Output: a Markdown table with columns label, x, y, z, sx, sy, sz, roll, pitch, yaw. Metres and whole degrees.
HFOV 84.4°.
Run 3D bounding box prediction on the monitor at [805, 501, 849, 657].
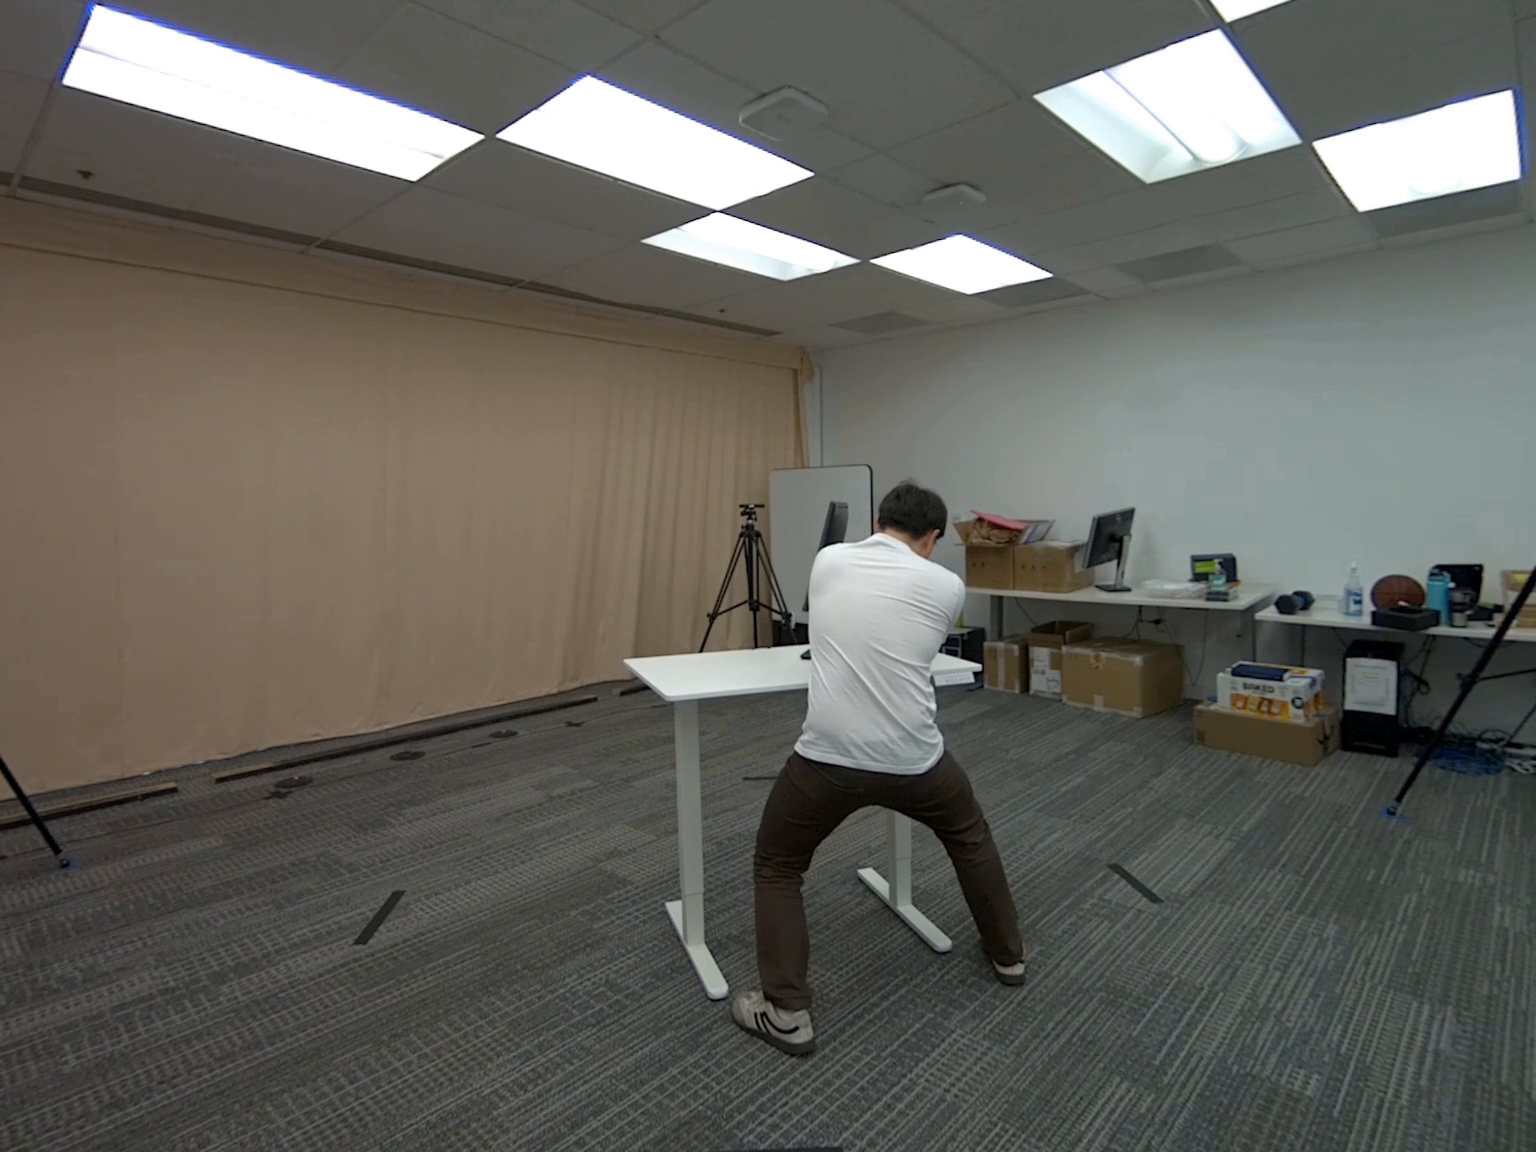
| label | x | y | z | sx | sy | sz | roll | pitch | yaw |
| --- | --- | --- | --- | --- | --- | --- | --- | --- | --- |
| monitor | 0.236 | 0.009 | 2.844 | 0.189 | 0.521 | 0.534 | 2 | 4 | 10 |
